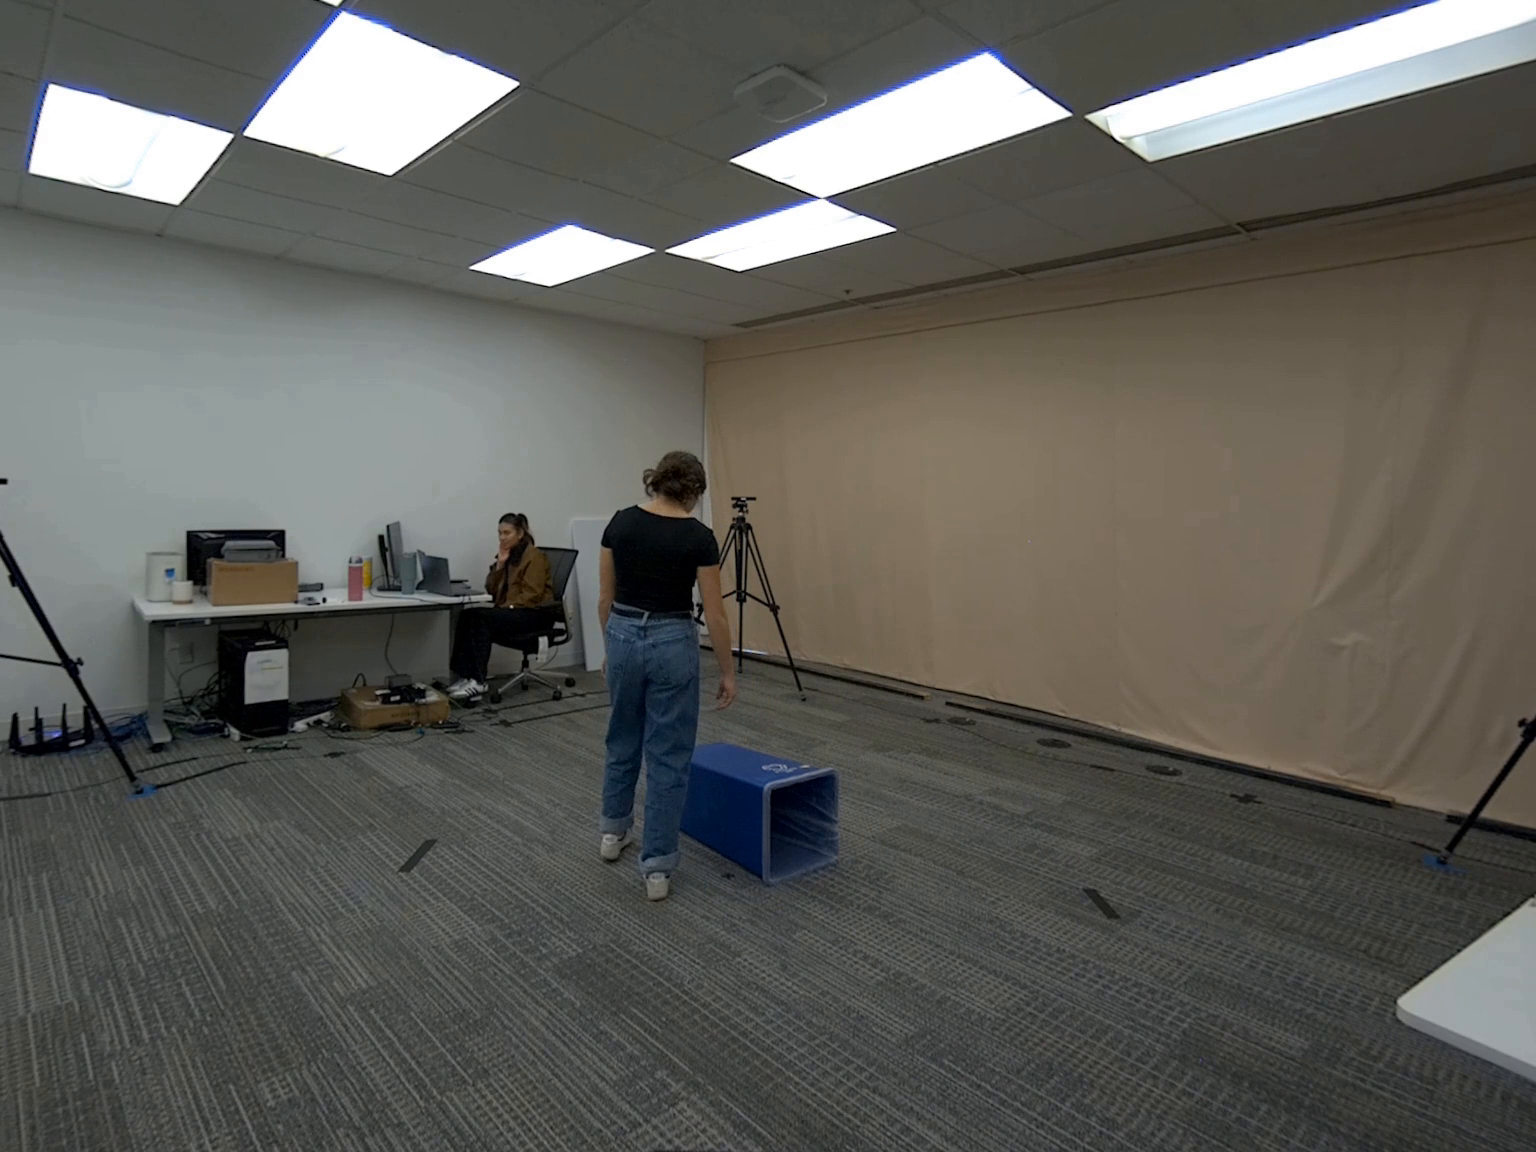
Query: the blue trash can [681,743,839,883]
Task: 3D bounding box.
[{"bbox_3d":[-0.104,0.916,3.396,0.366,0.377,0.730,-2,3,-39],"label":"blue trash can"}]
